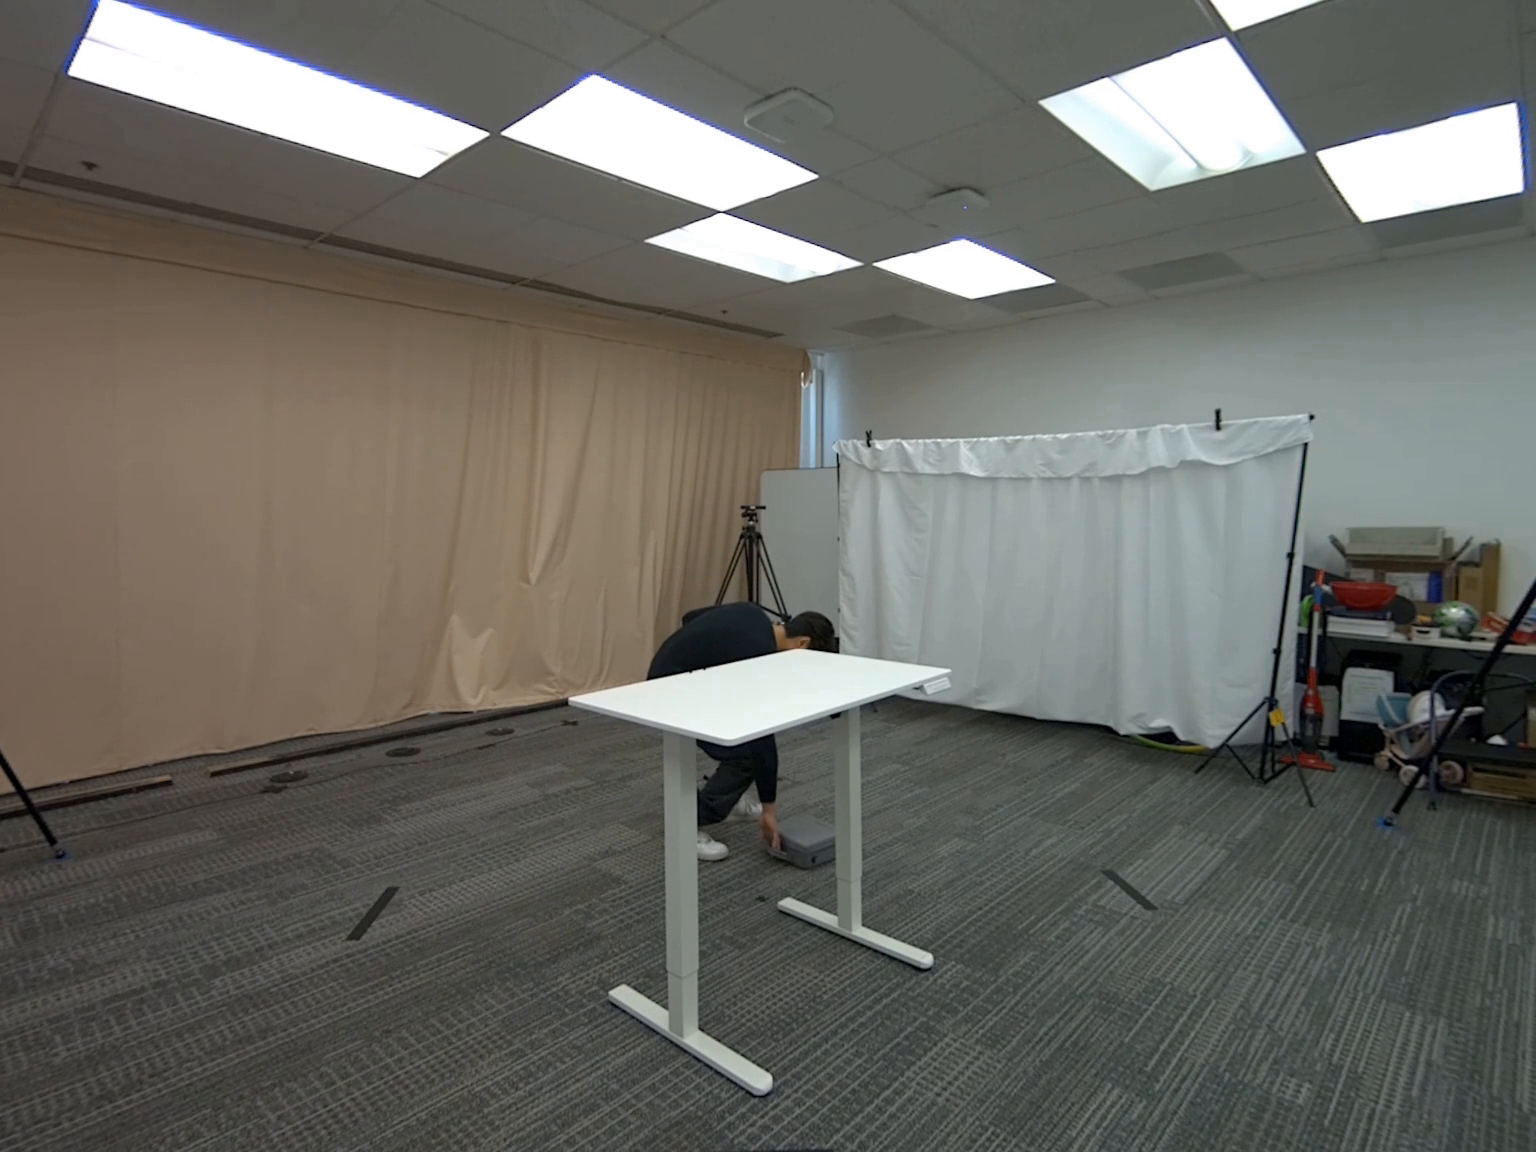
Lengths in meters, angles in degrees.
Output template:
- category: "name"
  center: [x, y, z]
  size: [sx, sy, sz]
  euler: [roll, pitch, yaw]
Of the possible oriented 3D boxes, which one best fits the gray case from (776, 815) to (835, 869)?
- category: "gray case"
  center: [0.153, 1.055, 3.360]
  size: [0.253, 0.104, 0.266]
  euler: [-5, 9, -43]
